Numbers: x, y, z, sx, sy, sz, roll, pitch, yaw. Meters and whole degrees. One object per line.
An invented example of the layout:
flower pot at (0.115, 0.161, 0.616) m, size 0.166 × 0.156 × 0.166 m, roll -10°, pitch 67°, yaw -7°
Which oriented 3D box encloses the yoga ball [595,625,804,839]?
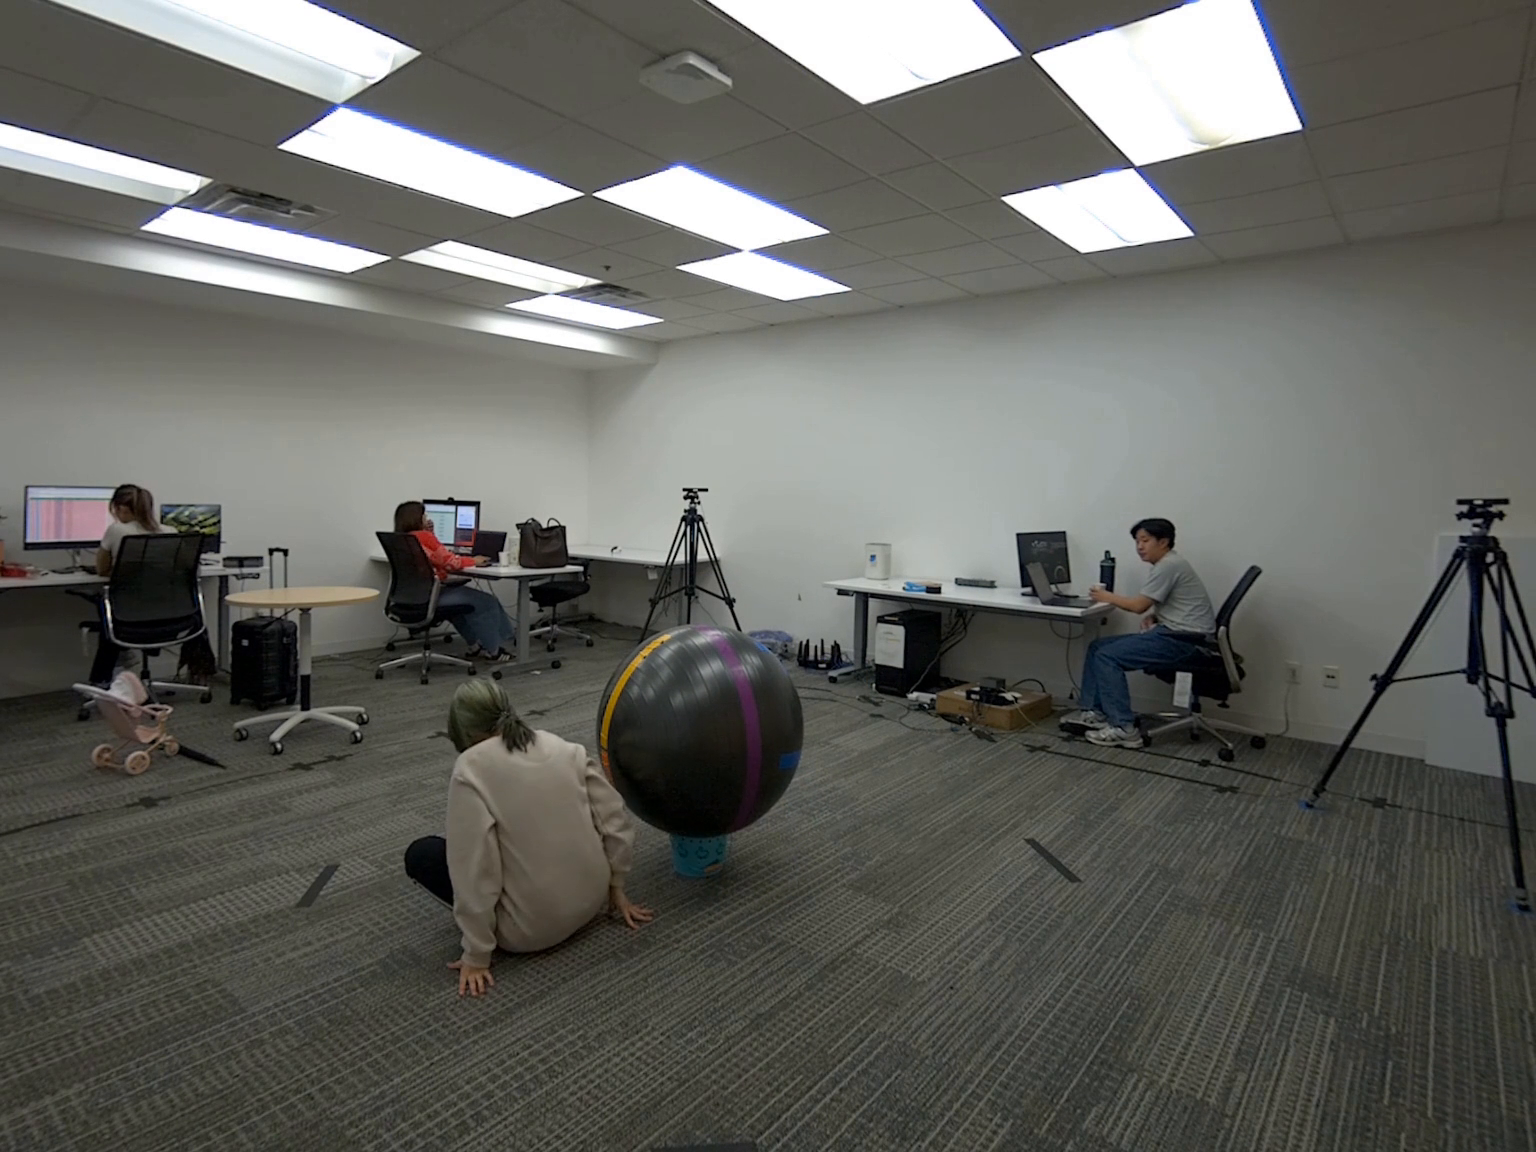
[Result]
yoga ball at (-0.256, 0.554, 3.110) m, size 0.757 × 0.755 × 0.762 m, roll 1°, pitch 4°, yaw -2°
